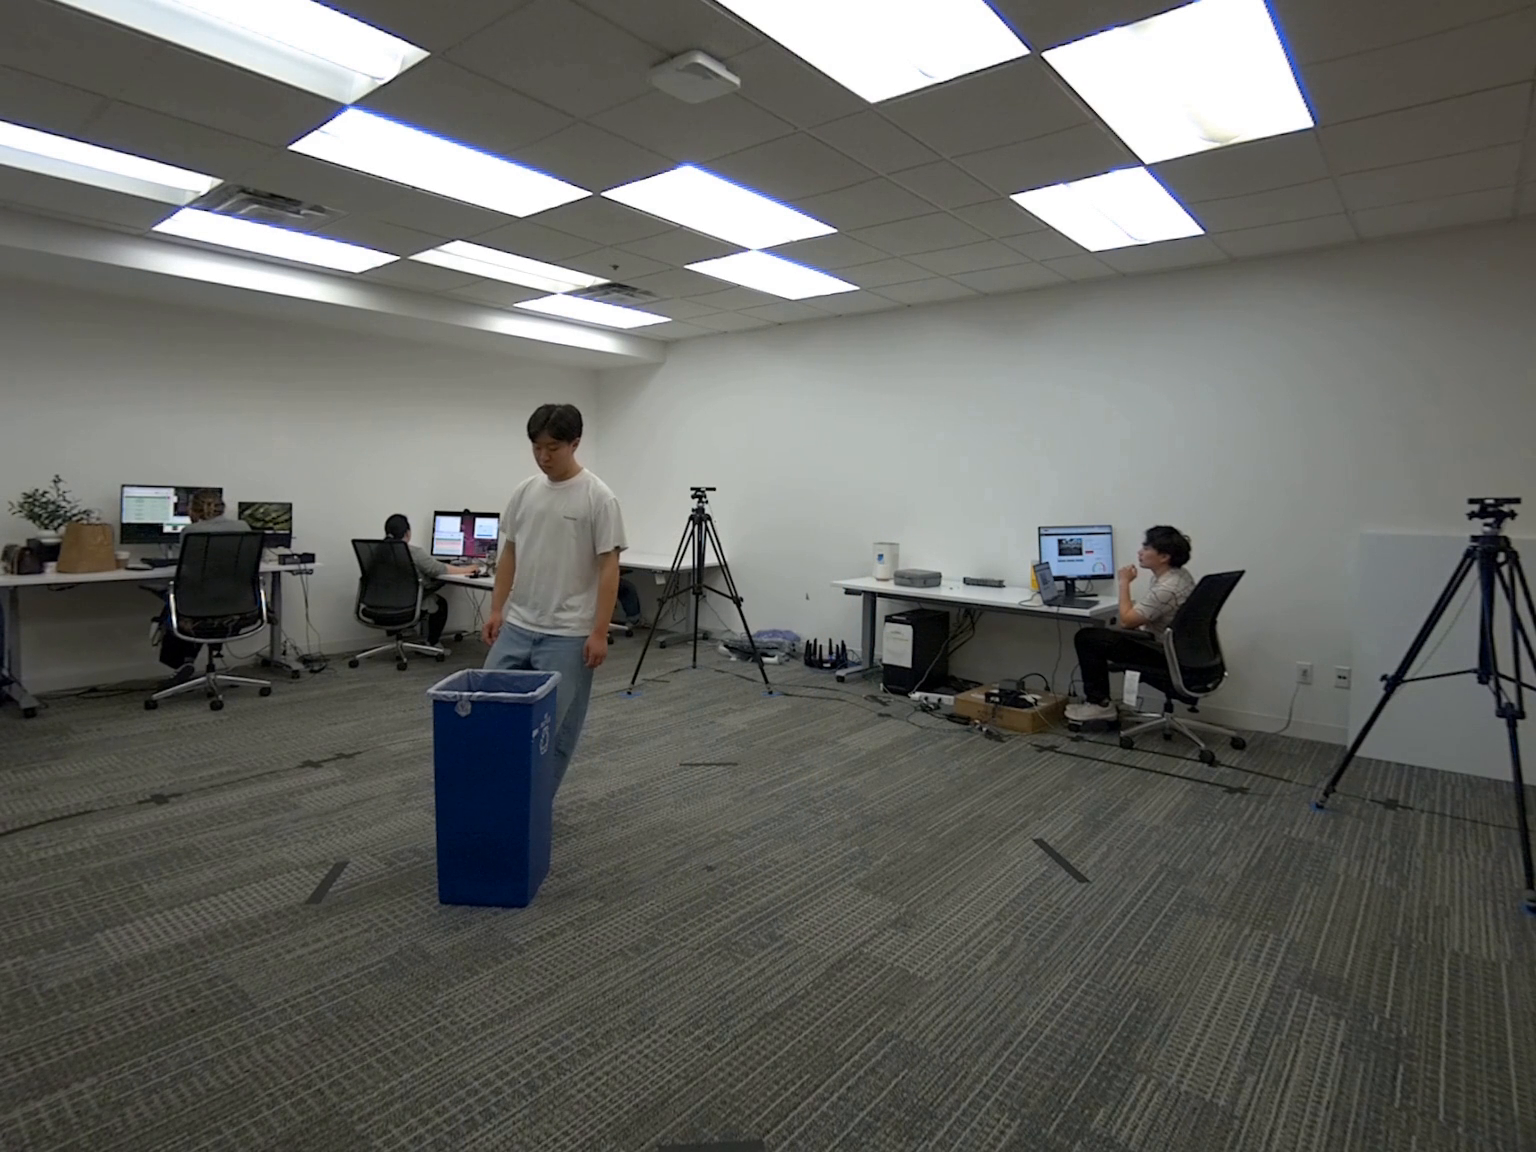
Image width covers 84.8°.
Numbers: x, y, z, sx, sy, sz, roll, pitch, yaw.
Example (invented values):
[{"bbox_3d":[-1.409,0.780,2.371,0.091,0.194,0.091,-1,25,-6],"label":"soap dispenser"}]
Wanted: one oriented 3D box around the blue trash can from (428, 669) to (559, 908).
[{"bbox_3d":[-0.952,0.712,2.935,0.379,0.711,0.374,1,4,2],"label":"blue trash can"}]
